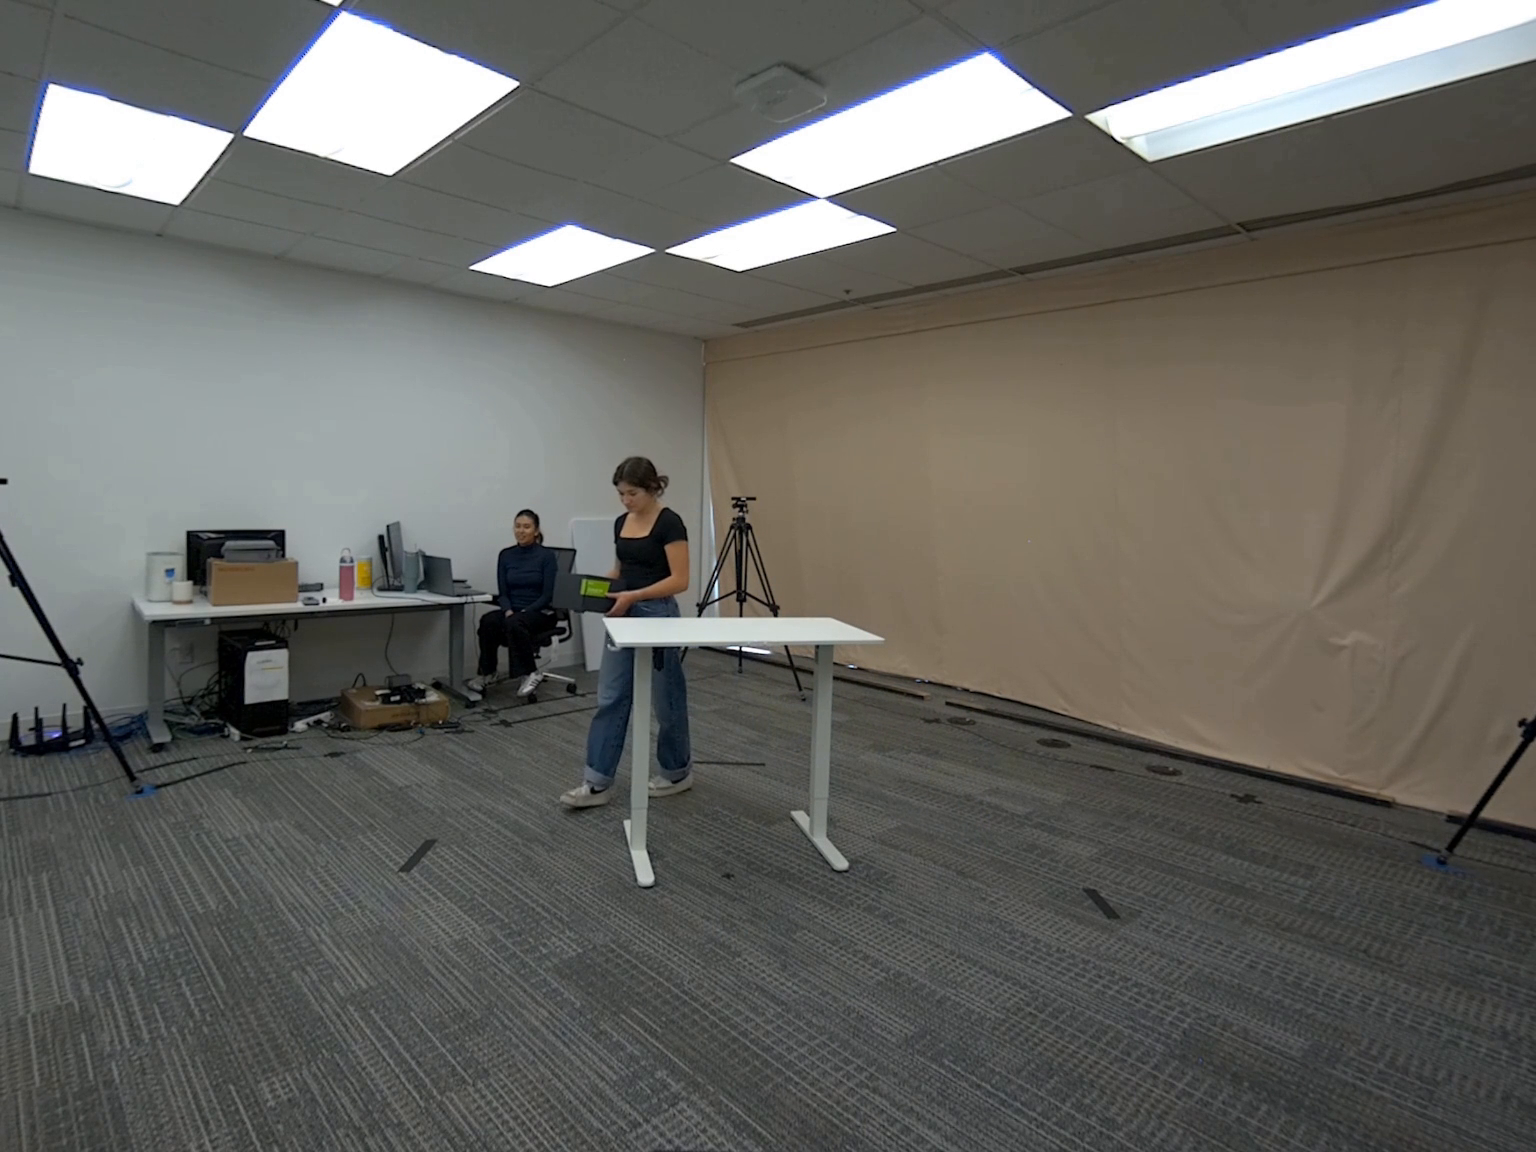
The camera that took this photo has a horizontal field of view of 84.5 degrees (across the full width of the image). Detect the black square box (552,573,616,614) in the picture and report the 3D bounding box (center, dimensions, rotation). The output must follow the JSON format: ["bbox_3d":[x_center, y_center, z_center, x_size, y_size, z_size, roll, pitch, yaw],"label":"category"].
[{"bbox_3d":[-0.804,0.074,3.691,0.222,0.156,0.222,4,-5,37],"label":"black square box"}]
